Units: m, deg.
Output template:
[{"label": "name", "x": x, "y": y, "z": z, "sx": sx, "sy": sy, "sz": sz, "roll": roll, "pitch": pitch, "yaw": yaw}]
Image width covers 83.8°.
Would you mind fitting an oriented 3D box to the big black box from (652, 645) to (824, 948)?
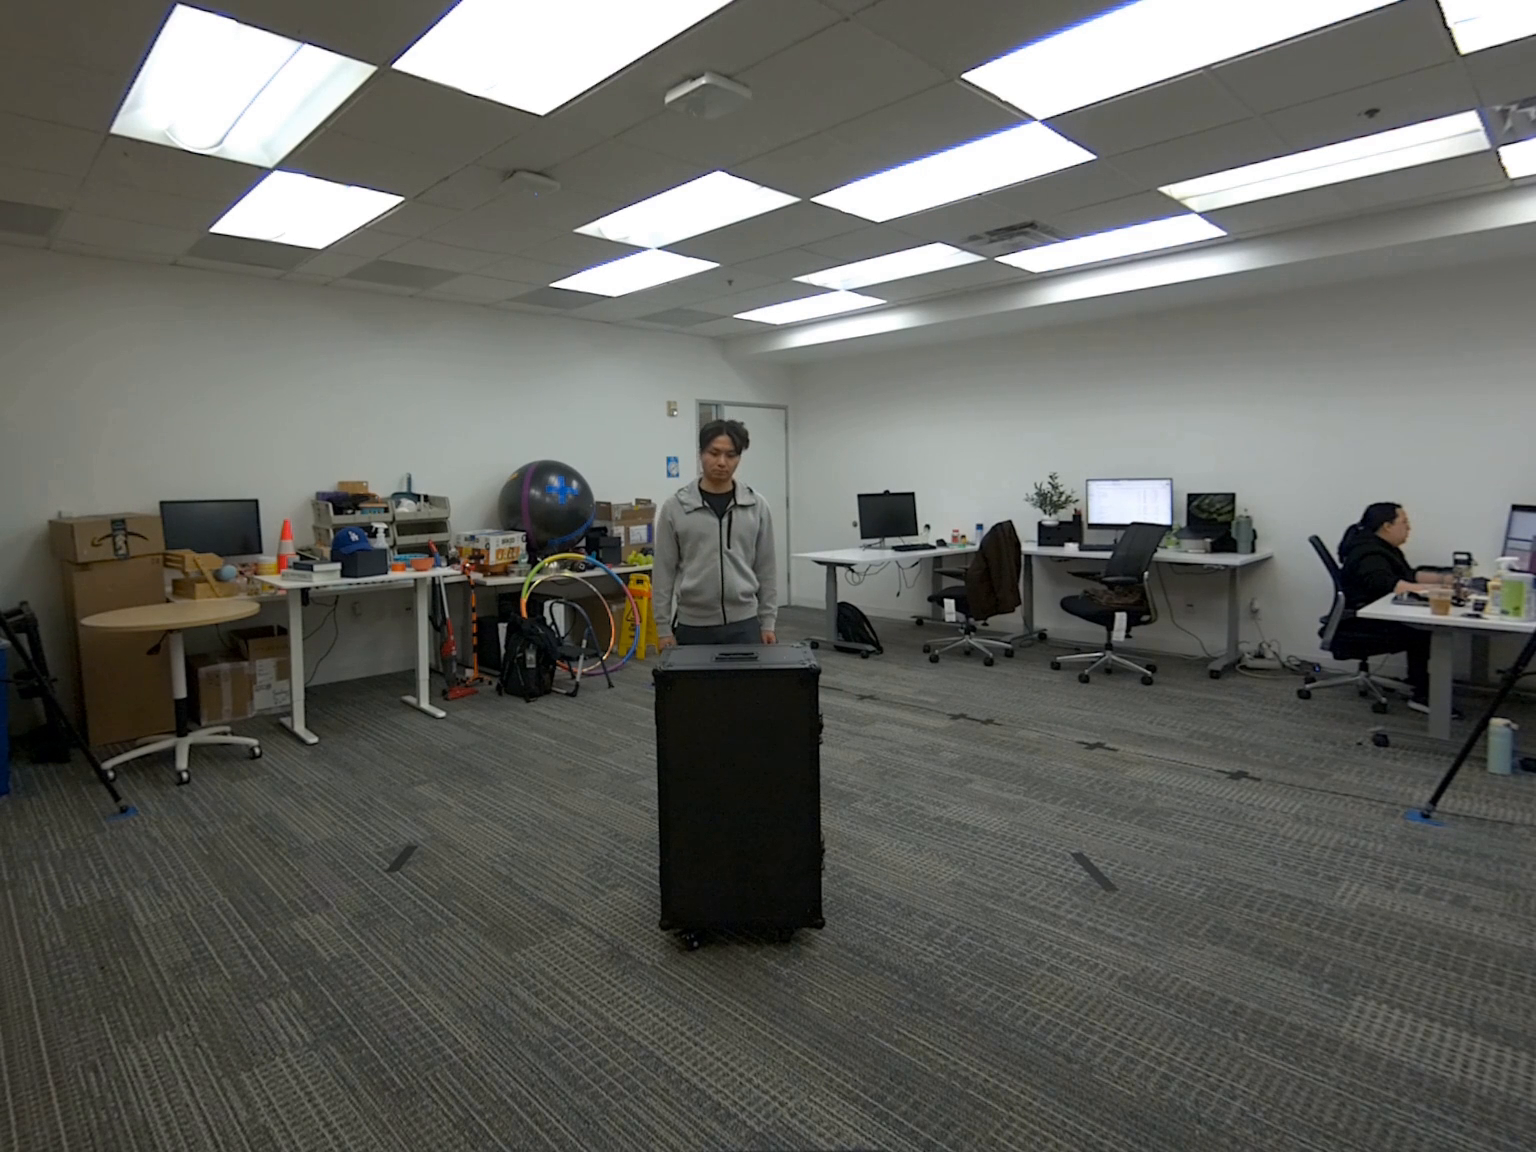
[{"label": "big black box", "x": -0.095, "y": 0.677, "z": 2.683, "sx": 0.521, "sy": 0.859, "sz": 0.397, "roll": -2, "pitch": 3, "yaw": 0}]
